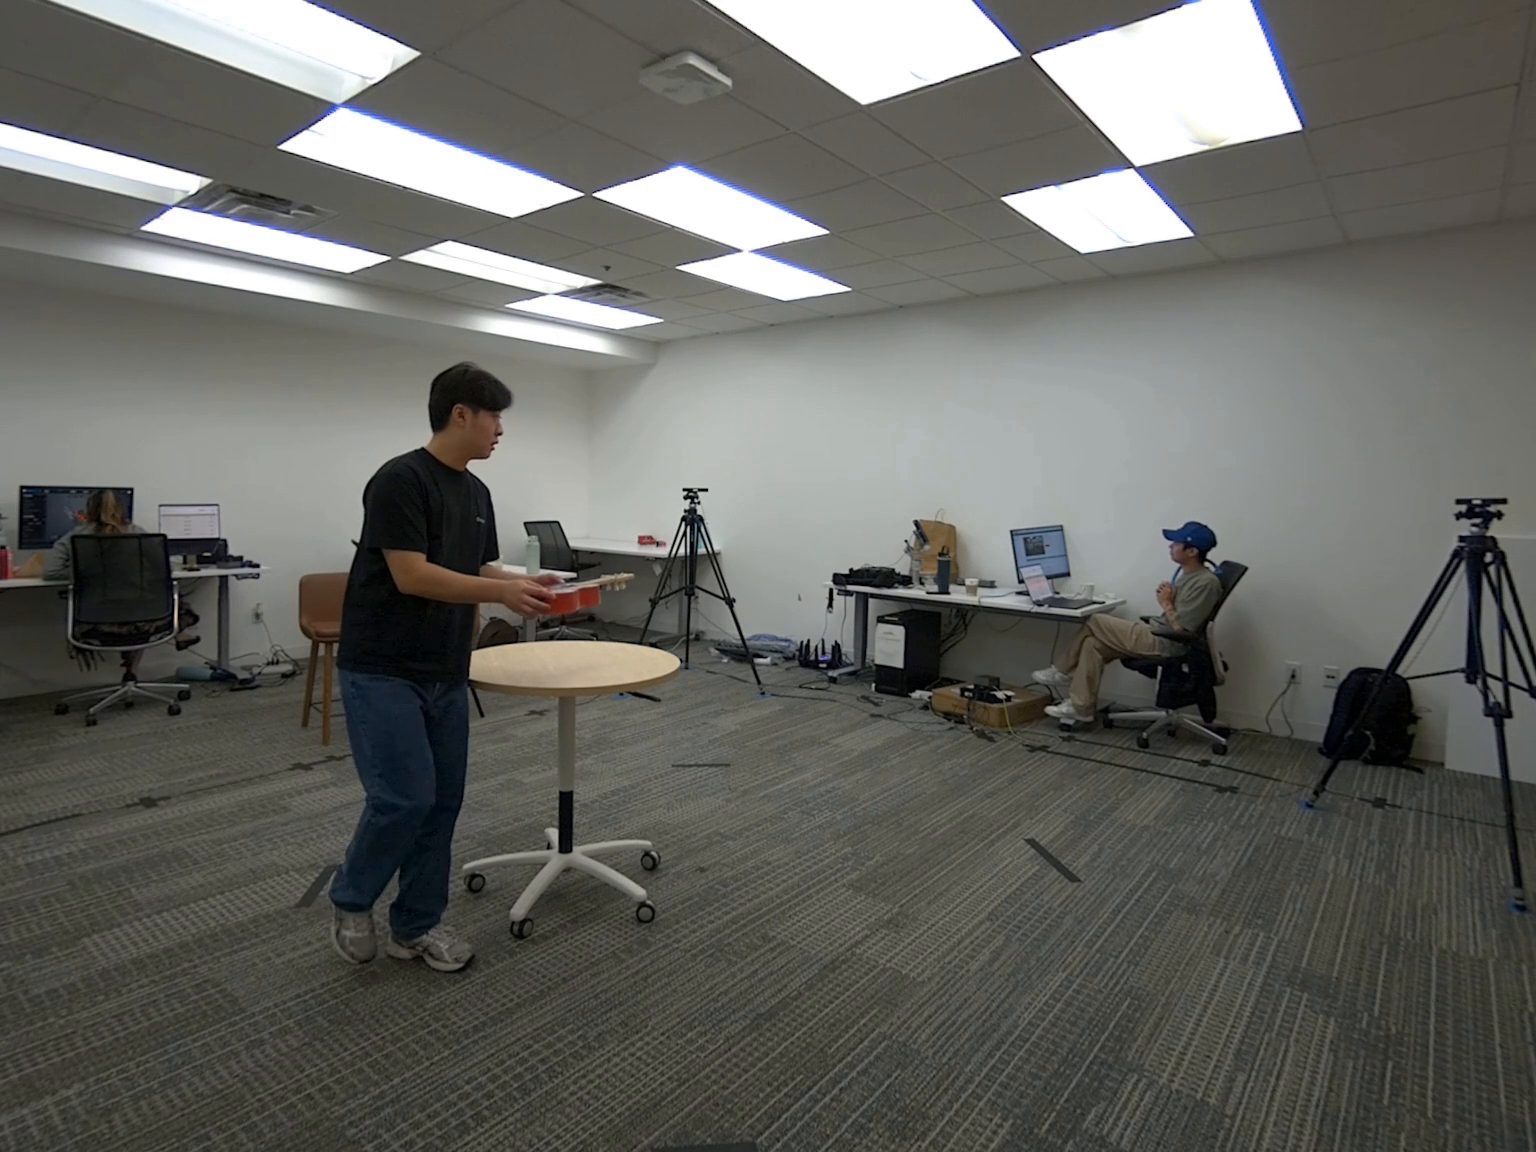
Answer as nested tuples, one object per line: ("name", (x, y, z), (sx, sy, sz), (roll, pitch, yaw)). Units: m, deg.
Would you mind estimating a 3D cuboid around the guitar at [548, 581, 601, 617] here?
("guitar", (-0.581, 0.053, 2.547), (0.198, 0.070, 0.486), (4, 7, 28))
